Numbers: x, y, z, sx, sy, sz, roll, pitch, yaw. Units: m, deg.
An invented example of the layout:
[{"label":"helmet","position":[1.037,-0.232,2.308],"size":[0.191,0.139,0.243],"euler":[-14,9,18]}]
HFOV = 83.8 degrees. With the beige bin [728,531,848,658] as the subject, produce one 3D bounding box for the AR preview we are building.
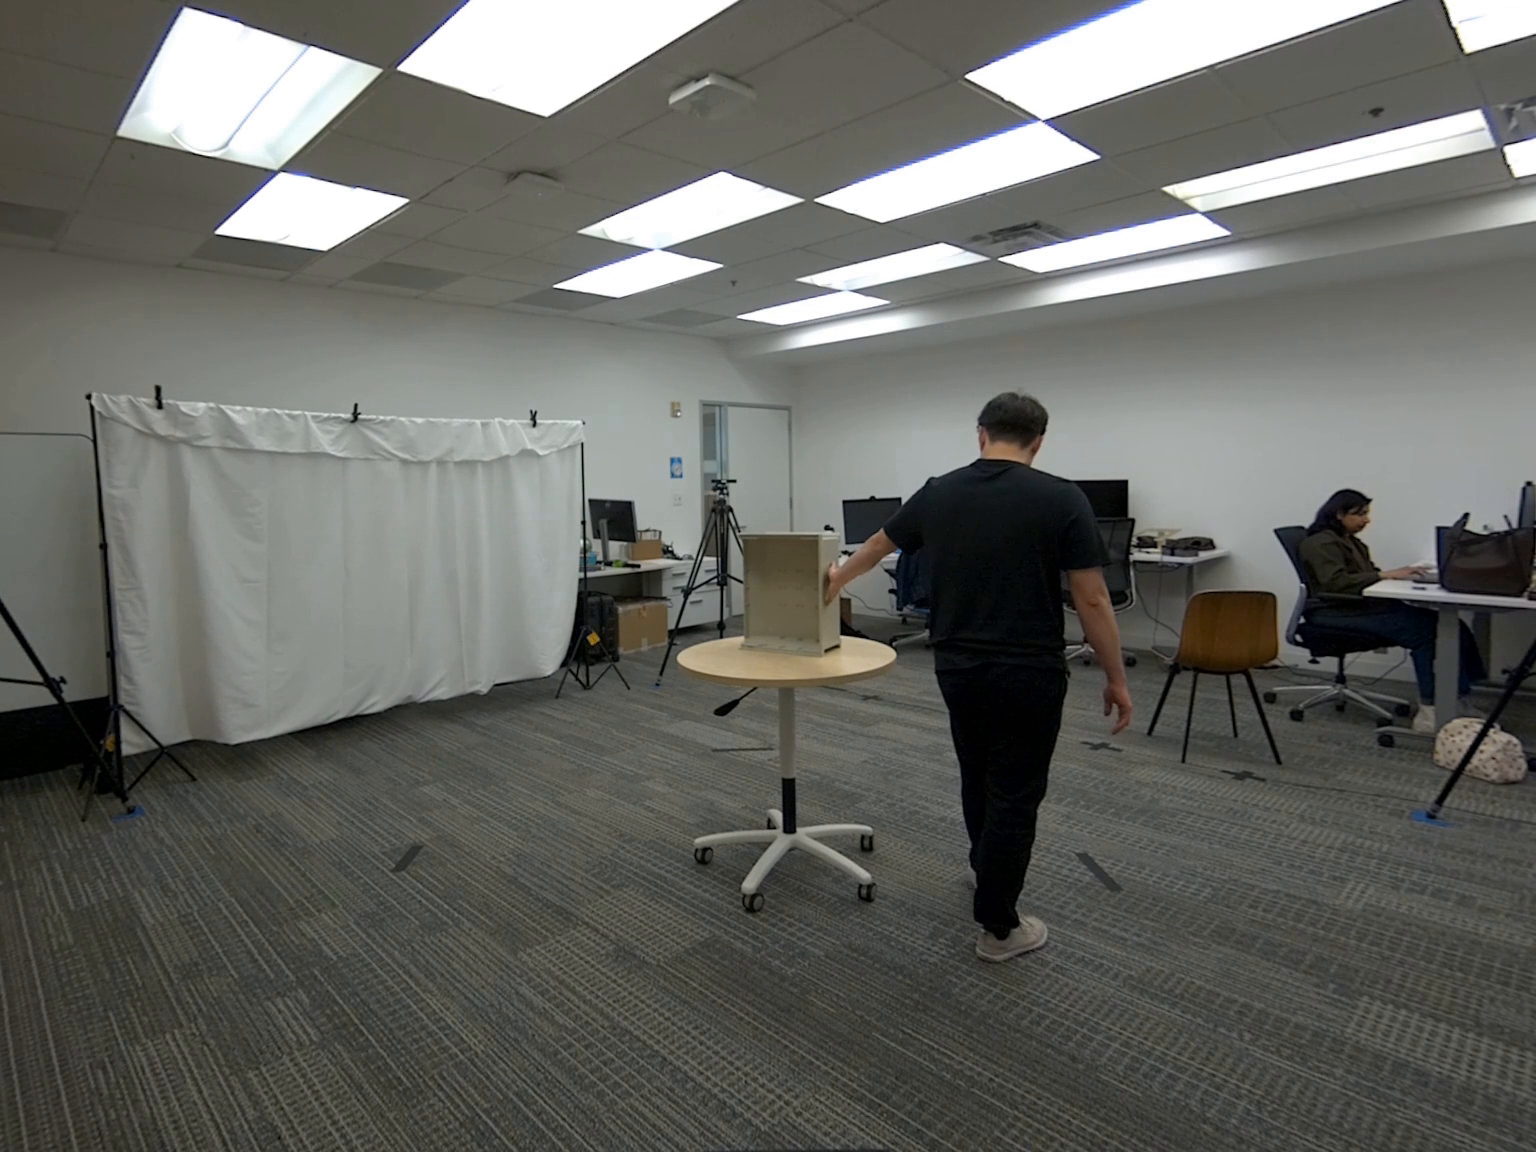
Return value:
[{"label":"beige bin","position":[0.069,0.053,3.099],"size":[0.387,0.421,0.184],"euler":[0,3,32]}]
